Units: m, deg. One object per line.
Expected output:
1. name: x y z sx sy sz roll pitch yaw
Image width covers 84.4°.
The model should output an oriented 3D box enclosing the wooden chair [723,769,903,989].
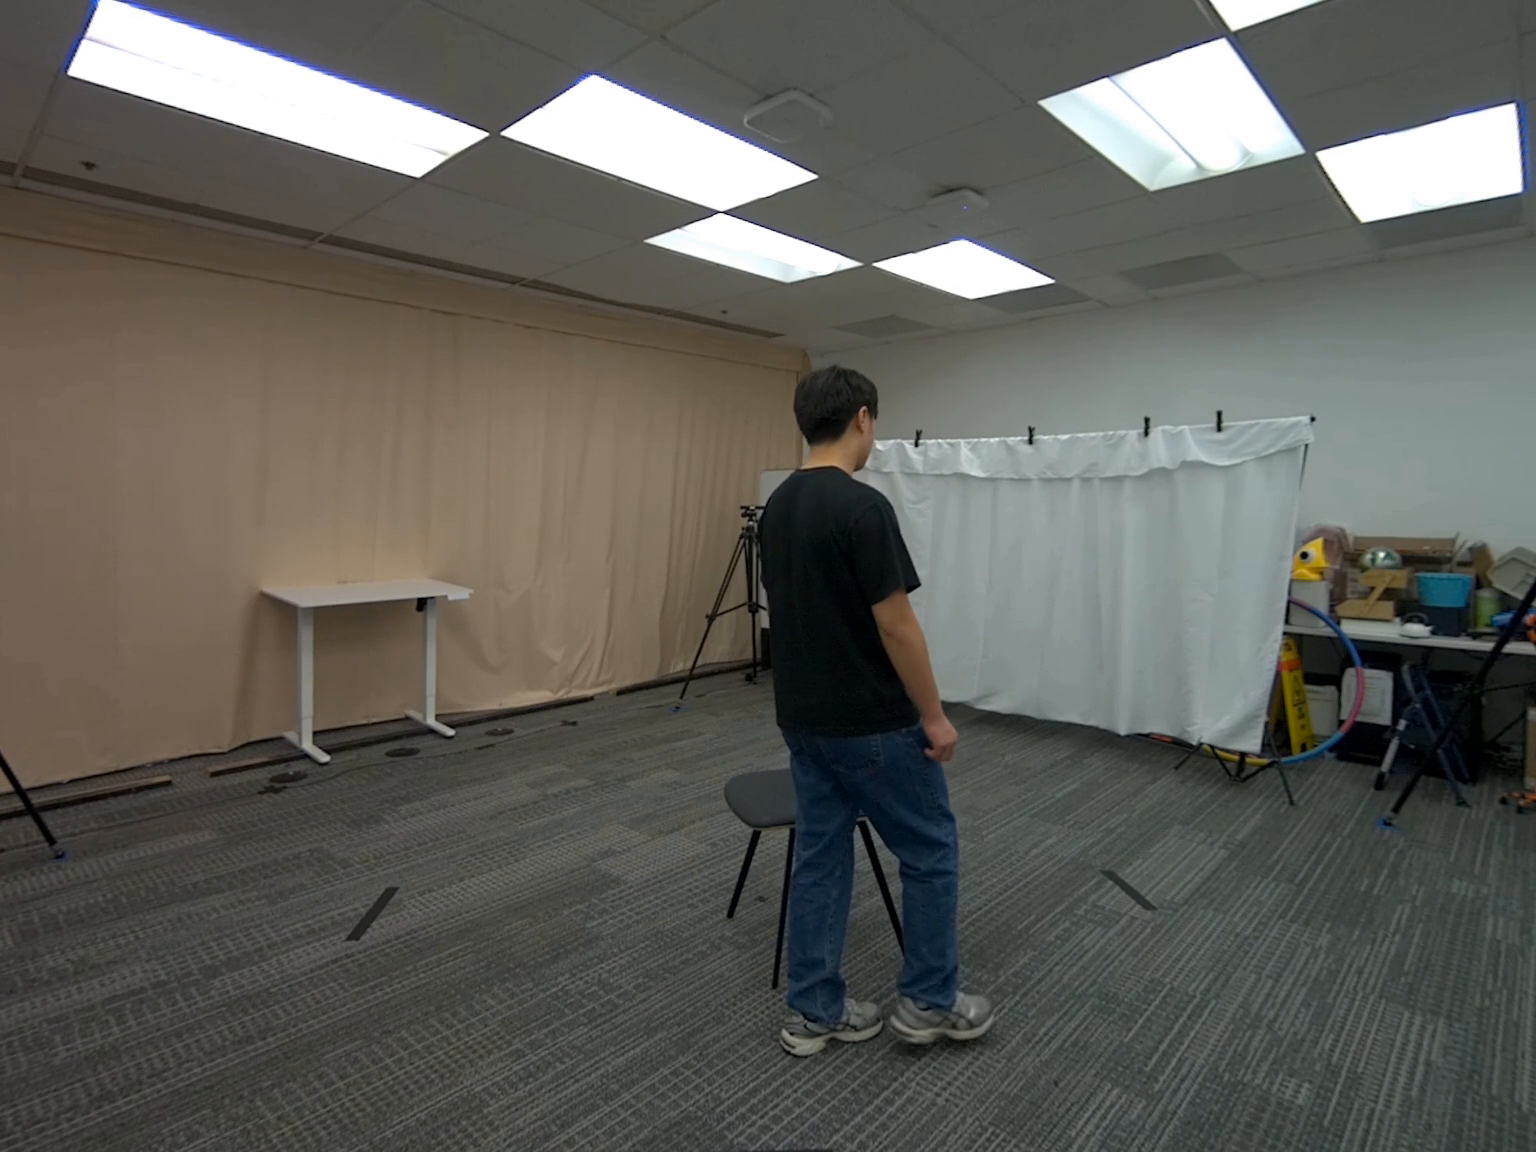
1. wooden chair: 0.148 0.741 2.668 0.513 0.876 0.488 3 2 -19
